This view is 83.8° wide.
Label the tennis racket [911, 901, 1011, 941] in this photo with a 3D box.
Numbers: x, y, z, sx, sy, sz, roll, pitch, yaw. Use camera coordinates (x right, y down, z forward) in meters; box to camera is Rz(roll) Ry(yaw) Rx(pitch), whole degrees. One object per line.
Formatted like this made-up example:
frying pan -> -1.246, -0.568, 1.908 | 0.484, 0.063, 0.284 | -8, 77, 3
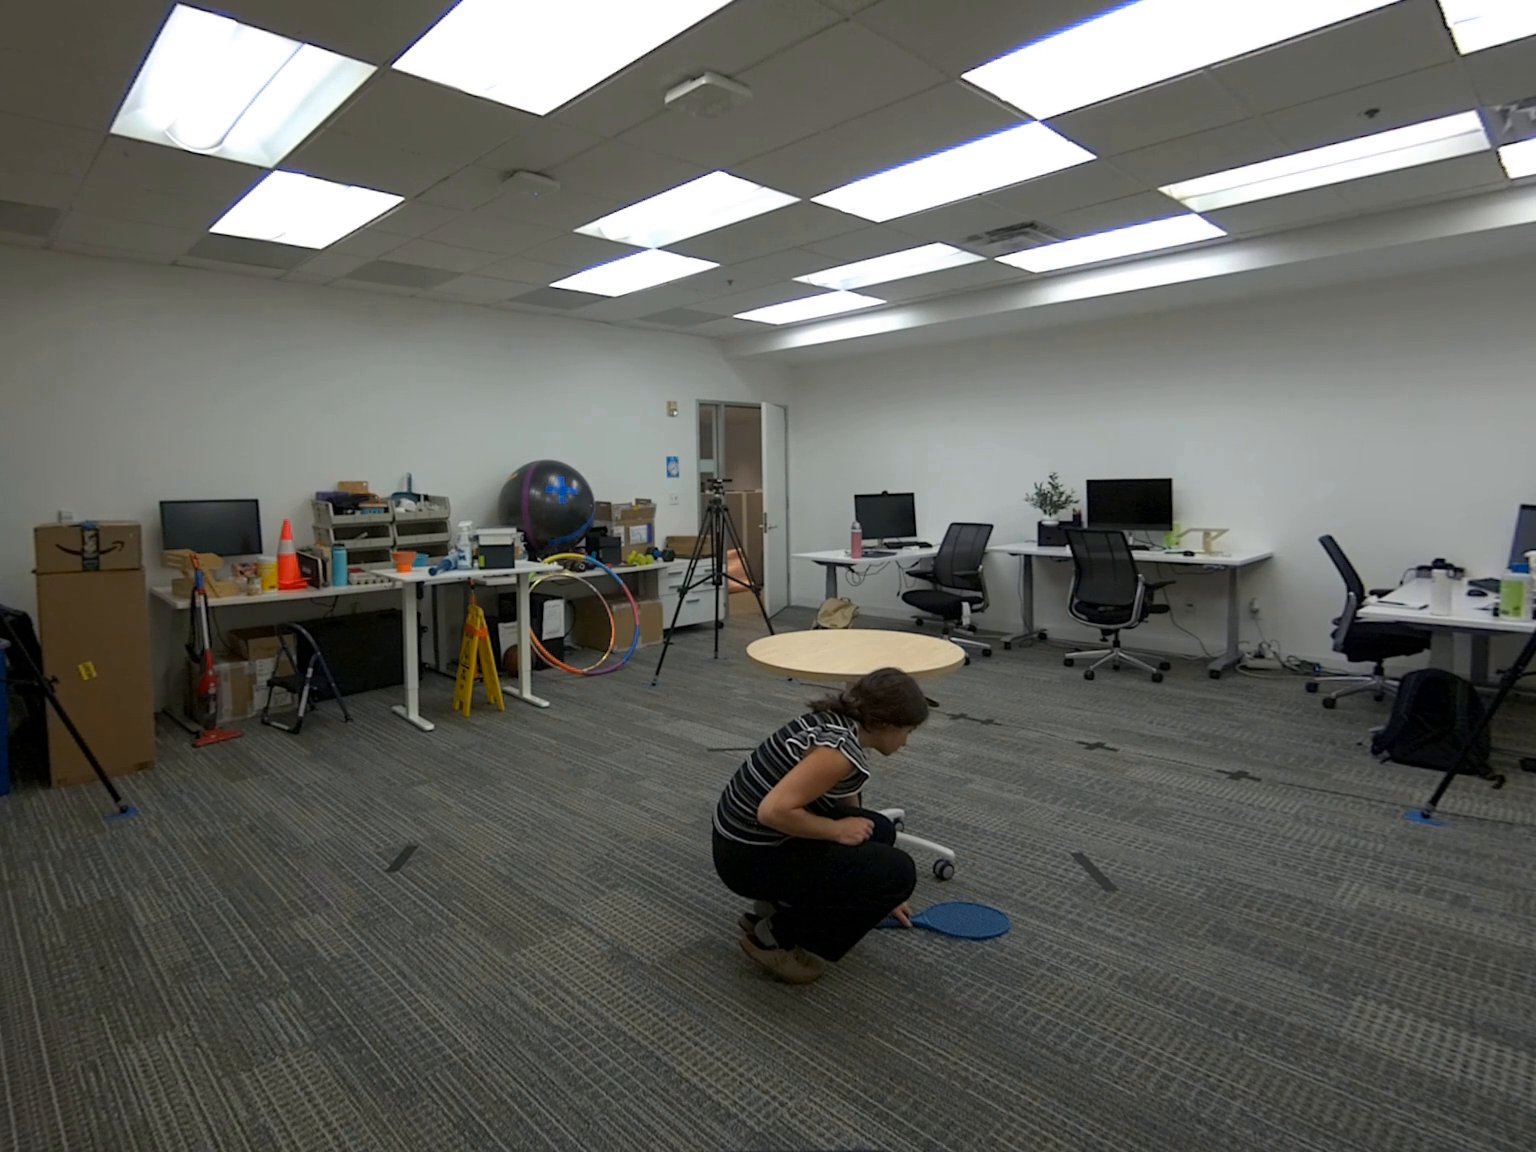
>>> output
tennis racket -> 0.526, 1.047, 2.691 | 0.432, 0.031, 0.215 | 0, 6, -2
